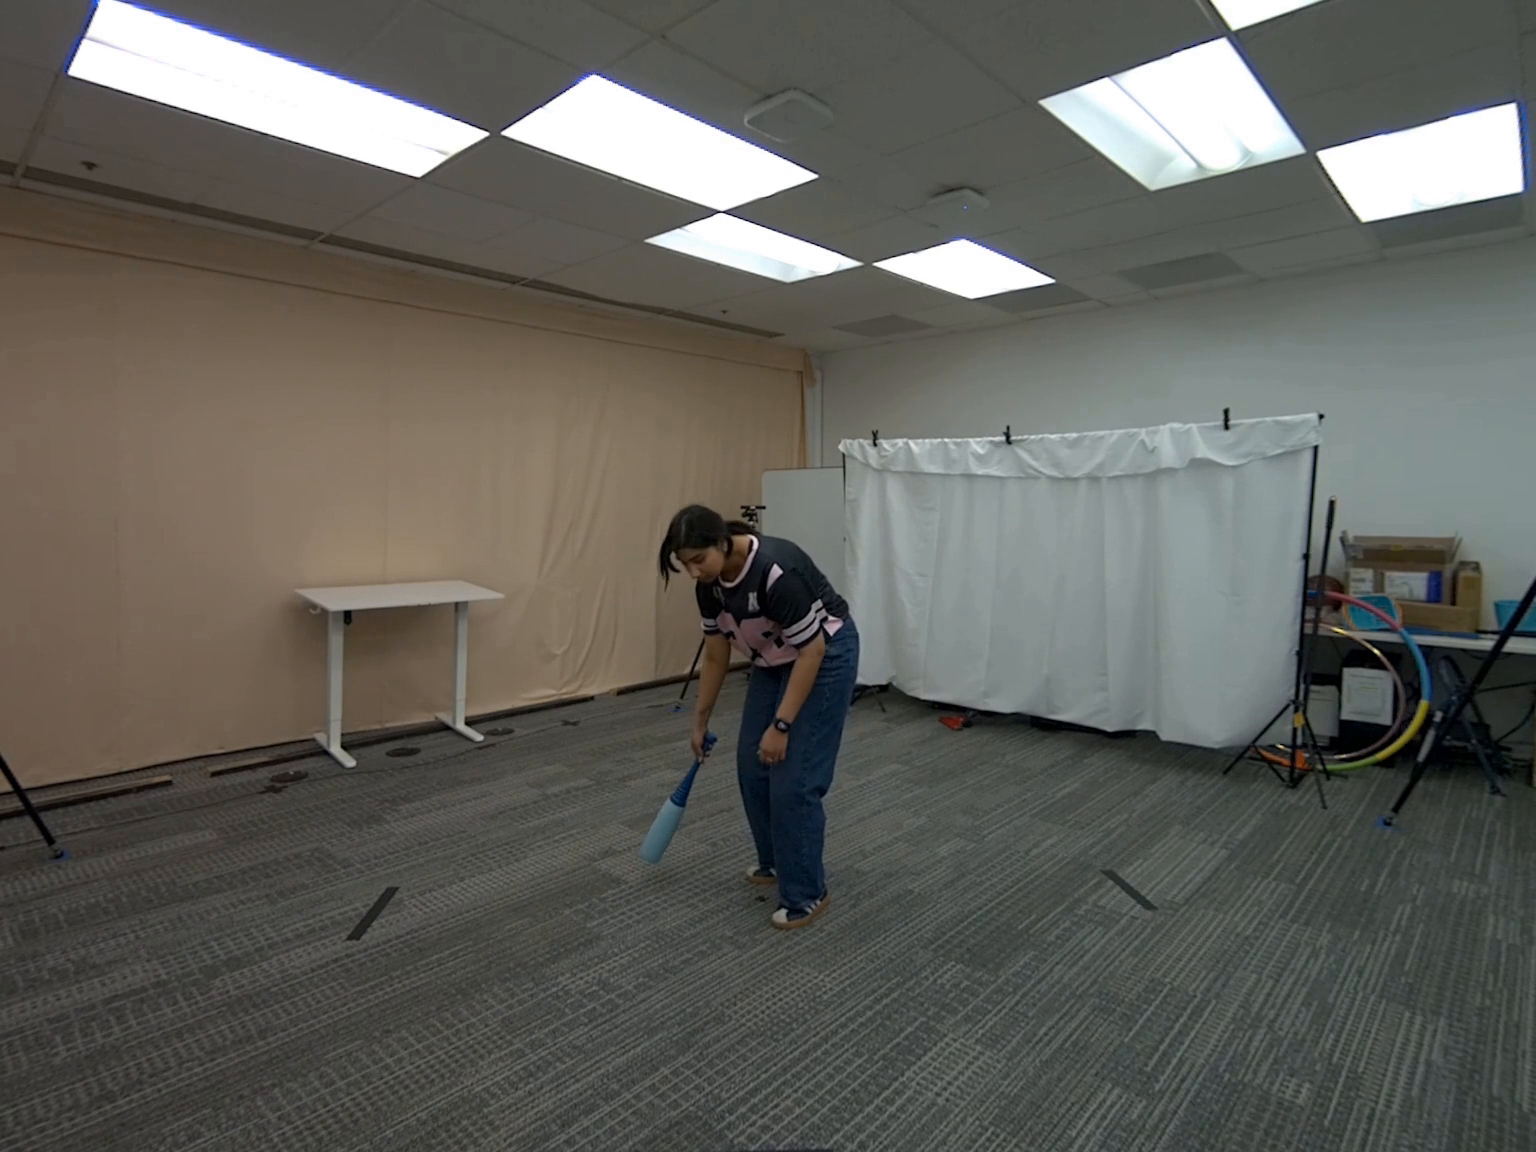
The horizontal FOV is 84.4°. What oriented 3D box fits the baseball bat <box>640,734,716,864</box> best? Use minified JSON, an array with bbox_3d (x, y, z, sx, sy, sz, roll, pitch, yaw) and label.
[{"bbox_3d":[-0.320,0.825,3.091,0.088,0.542,0.090,26,9,-7],"label":"baseball bat"}]
